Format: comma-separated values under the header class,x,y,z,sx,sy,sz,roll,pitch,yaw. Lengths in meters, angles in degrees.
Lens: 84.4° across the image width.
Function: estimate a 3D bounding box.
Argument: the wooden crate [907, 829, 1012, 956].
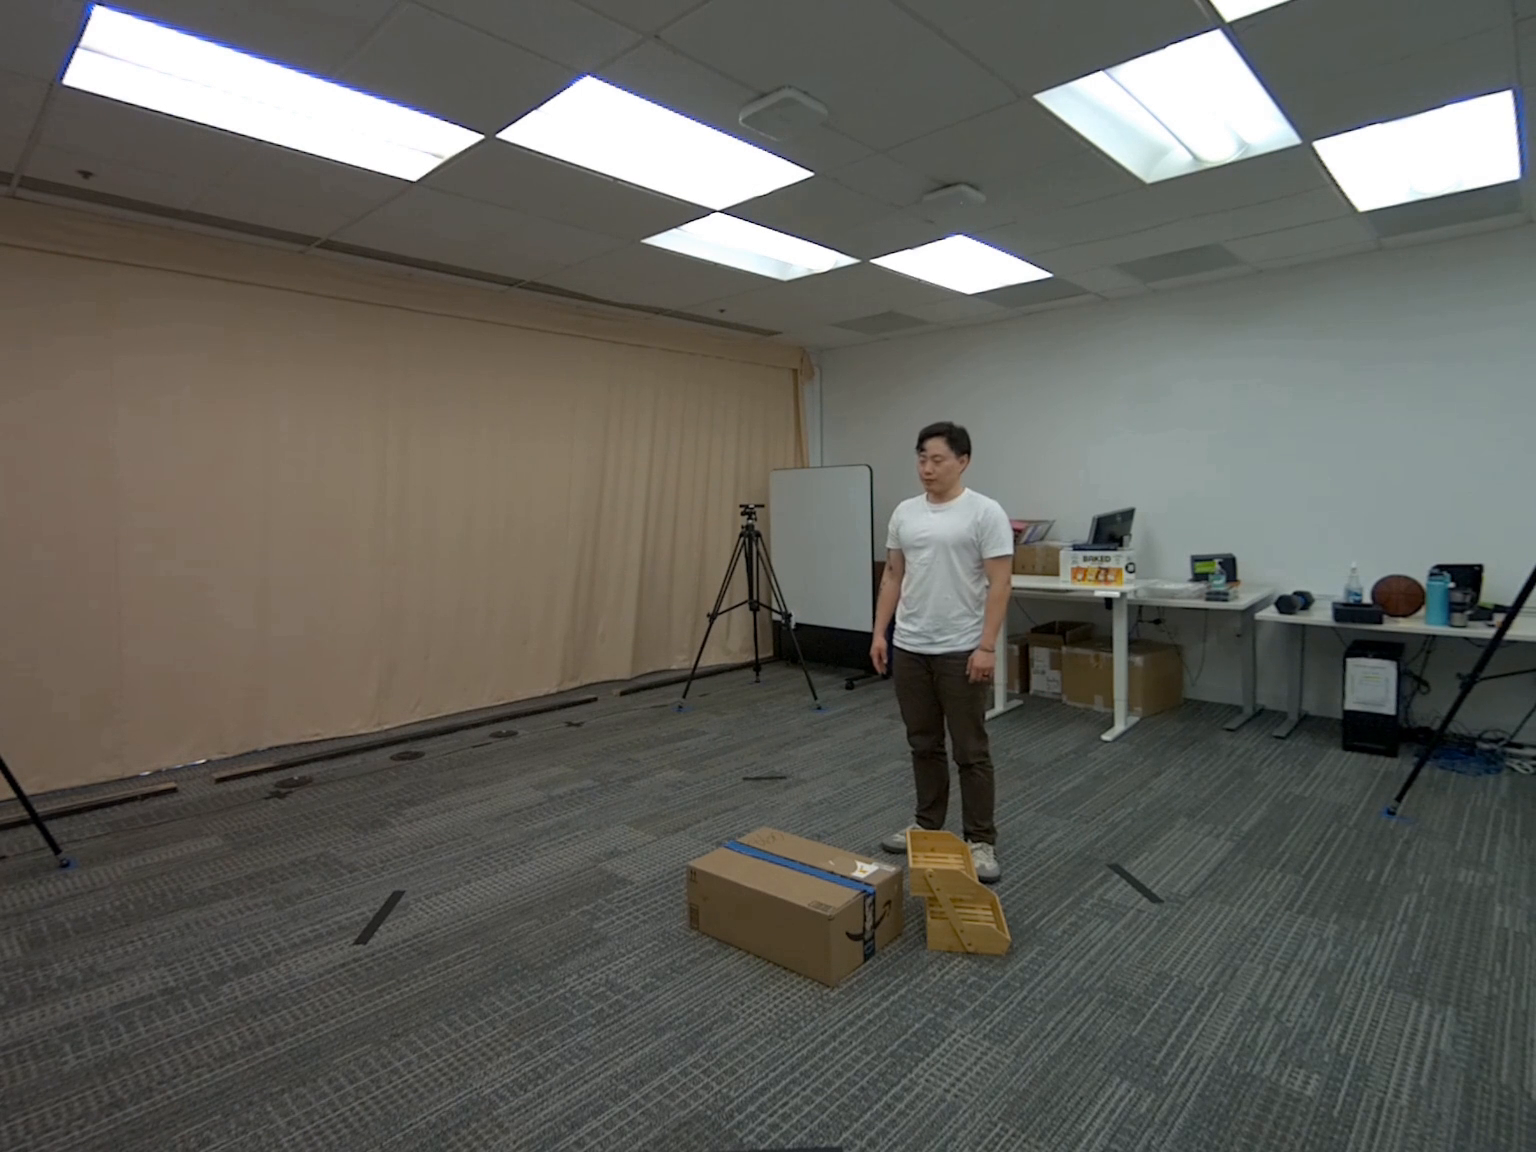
class,x,y,z,sx,sy,sz,roll,pitch,yaw
wooden crate,0.627,1.018,2.736,0.305,0.273,0.322,-1,4,9
